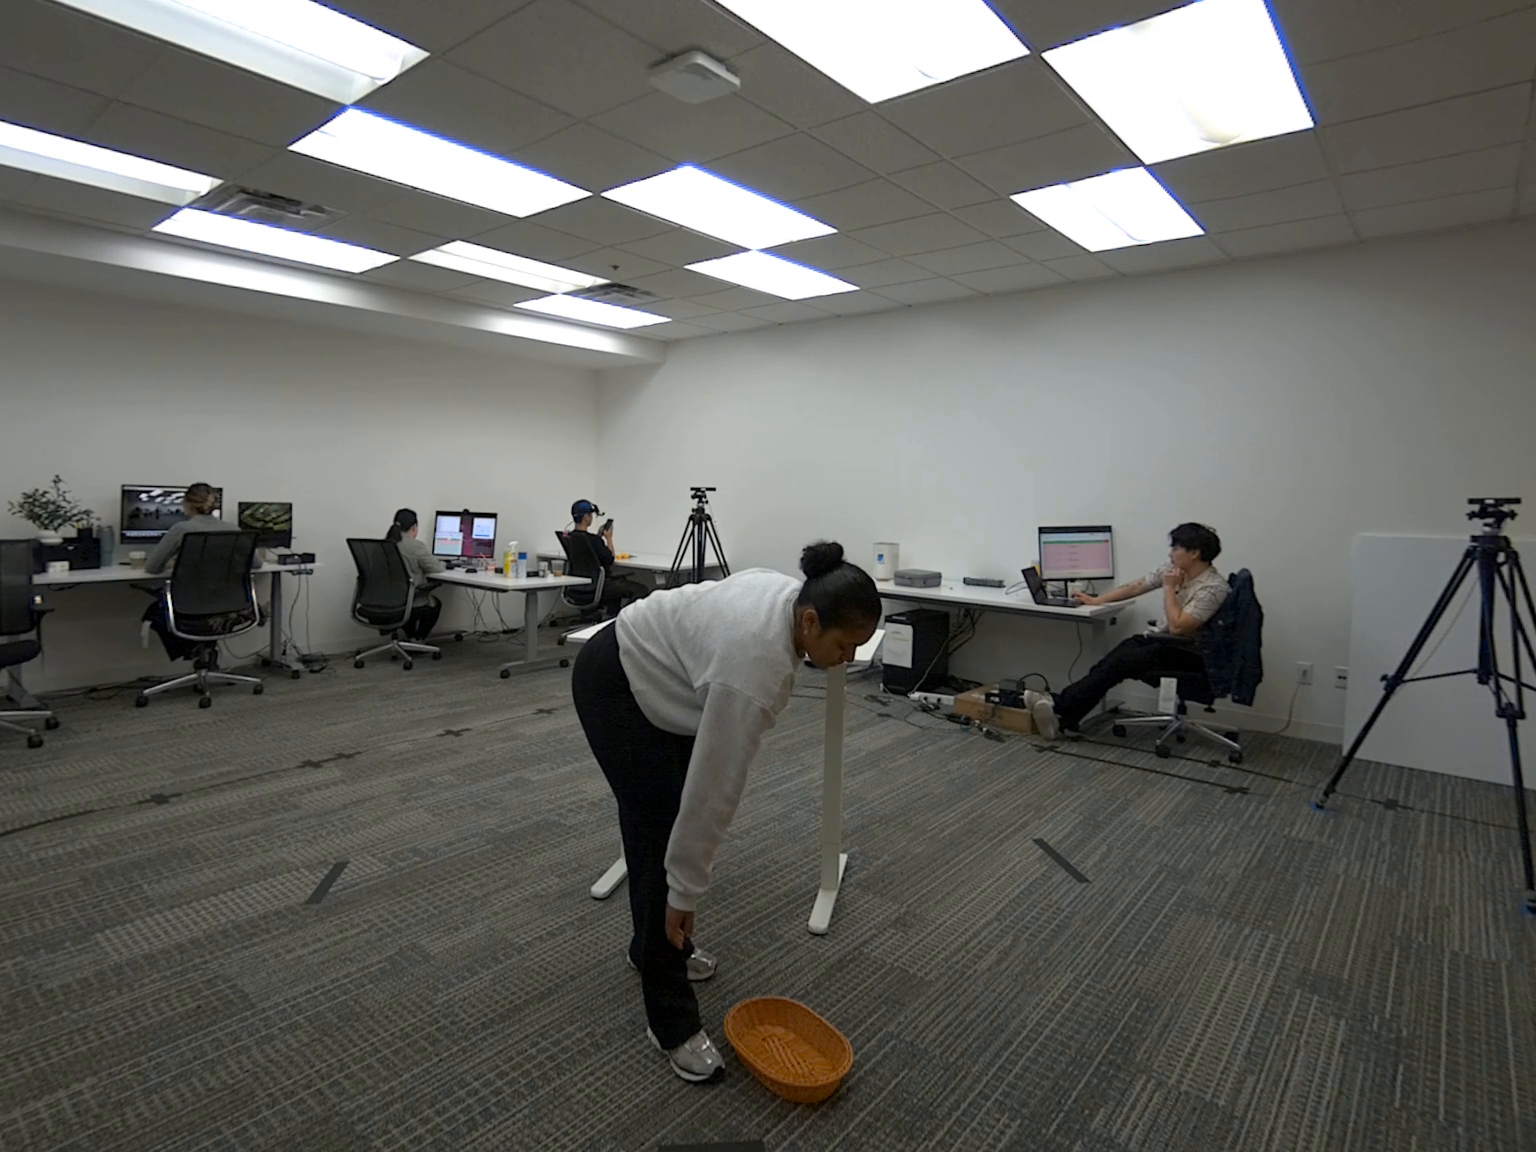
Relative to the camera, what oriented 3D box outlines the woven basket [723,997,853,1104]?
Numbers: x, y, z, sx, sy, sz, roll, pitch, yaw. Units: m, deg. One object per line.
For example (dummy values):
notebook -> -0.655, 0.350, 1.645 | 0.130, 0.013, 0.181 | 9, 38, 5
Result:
woven basket -> 0.037, 1.142, 2.054 | 0.245, 0.073, 0.362 | -3, 7, -33
